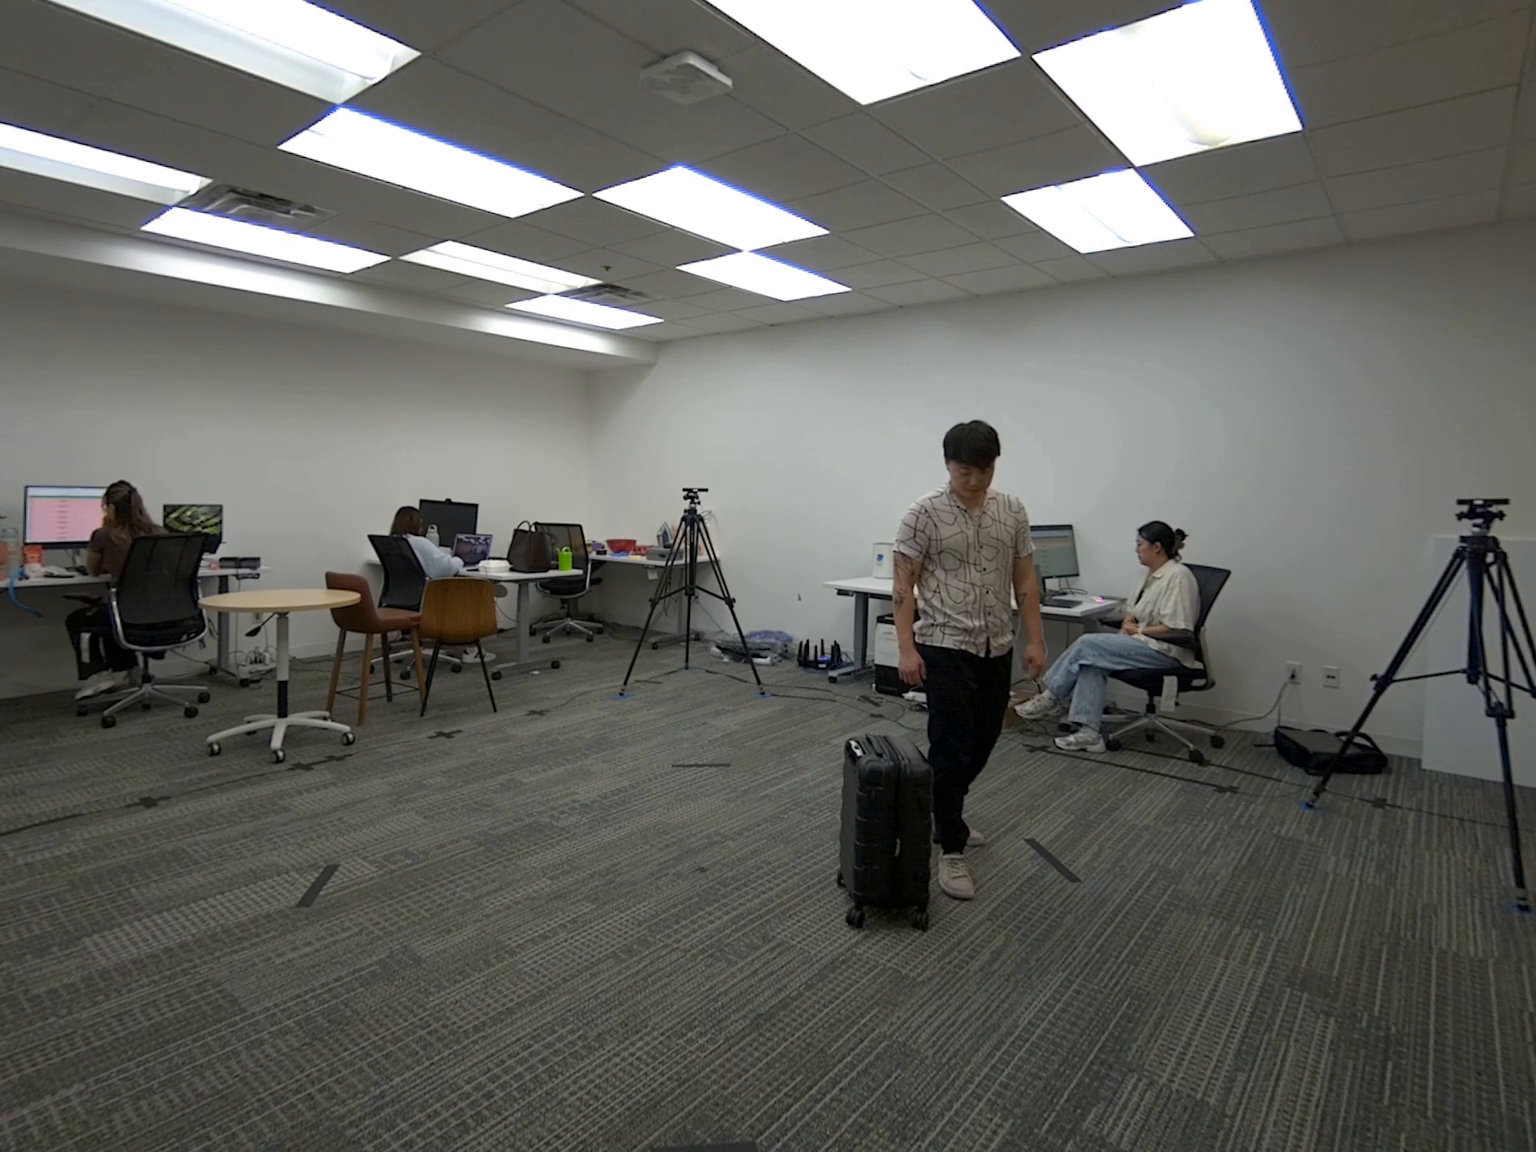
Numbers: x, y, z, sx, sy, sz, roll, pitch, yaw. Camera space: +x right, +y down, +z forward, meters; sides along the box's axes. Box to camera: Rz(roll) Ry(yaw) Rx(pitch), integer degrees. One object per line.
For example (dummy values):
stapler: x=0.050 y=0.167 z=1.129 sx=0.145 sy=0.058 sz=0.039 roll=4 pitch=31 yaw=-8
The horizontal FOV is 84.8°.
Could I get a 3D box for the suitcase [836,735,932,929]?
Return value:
suitcase: x=0.387 y=0.829 z=2.877 sx=0.248 sy=0.548 sz=0.377 roll=1 pitch=2 yaw=-3
